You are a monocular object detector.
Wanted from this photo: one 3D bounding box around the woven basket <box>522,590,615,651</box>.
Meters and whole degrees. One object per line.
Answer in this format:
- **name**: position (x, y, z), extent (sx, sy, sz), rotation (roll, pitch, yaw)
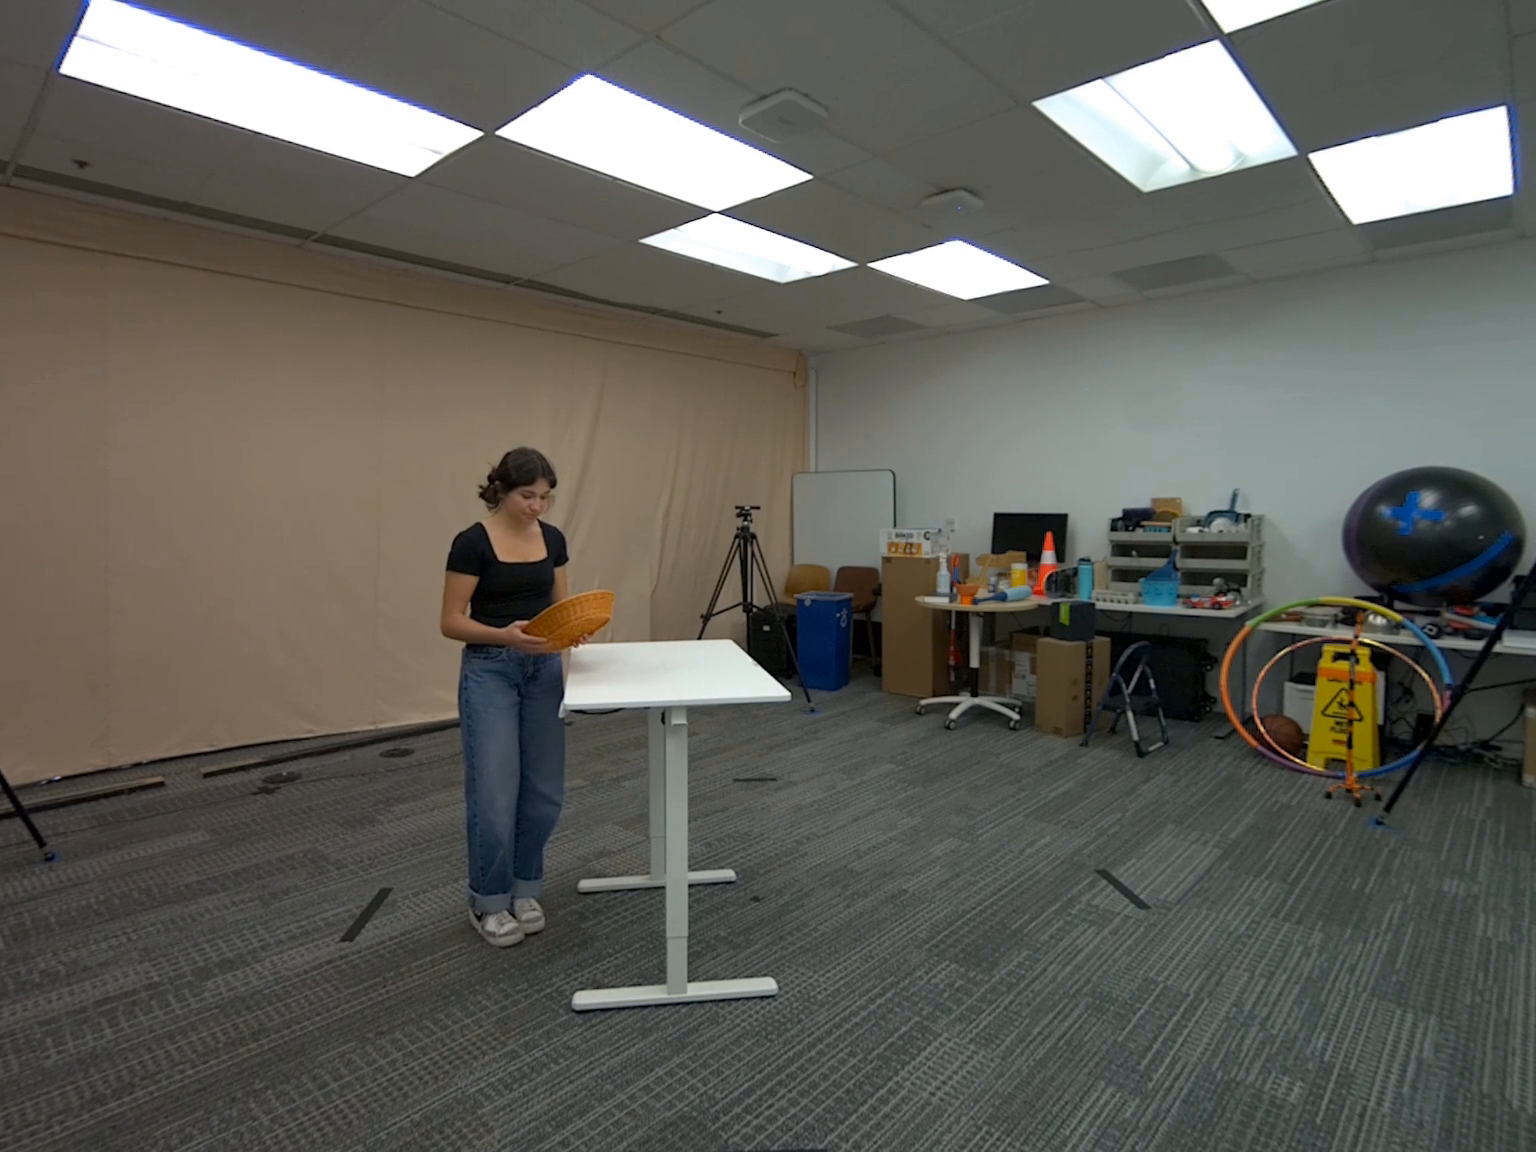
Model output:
- **woven basket**: position (-0.615, 0.154, 2.579), extent (0.356, 0.074, 0.245), rotation (-33, -16, 38)
